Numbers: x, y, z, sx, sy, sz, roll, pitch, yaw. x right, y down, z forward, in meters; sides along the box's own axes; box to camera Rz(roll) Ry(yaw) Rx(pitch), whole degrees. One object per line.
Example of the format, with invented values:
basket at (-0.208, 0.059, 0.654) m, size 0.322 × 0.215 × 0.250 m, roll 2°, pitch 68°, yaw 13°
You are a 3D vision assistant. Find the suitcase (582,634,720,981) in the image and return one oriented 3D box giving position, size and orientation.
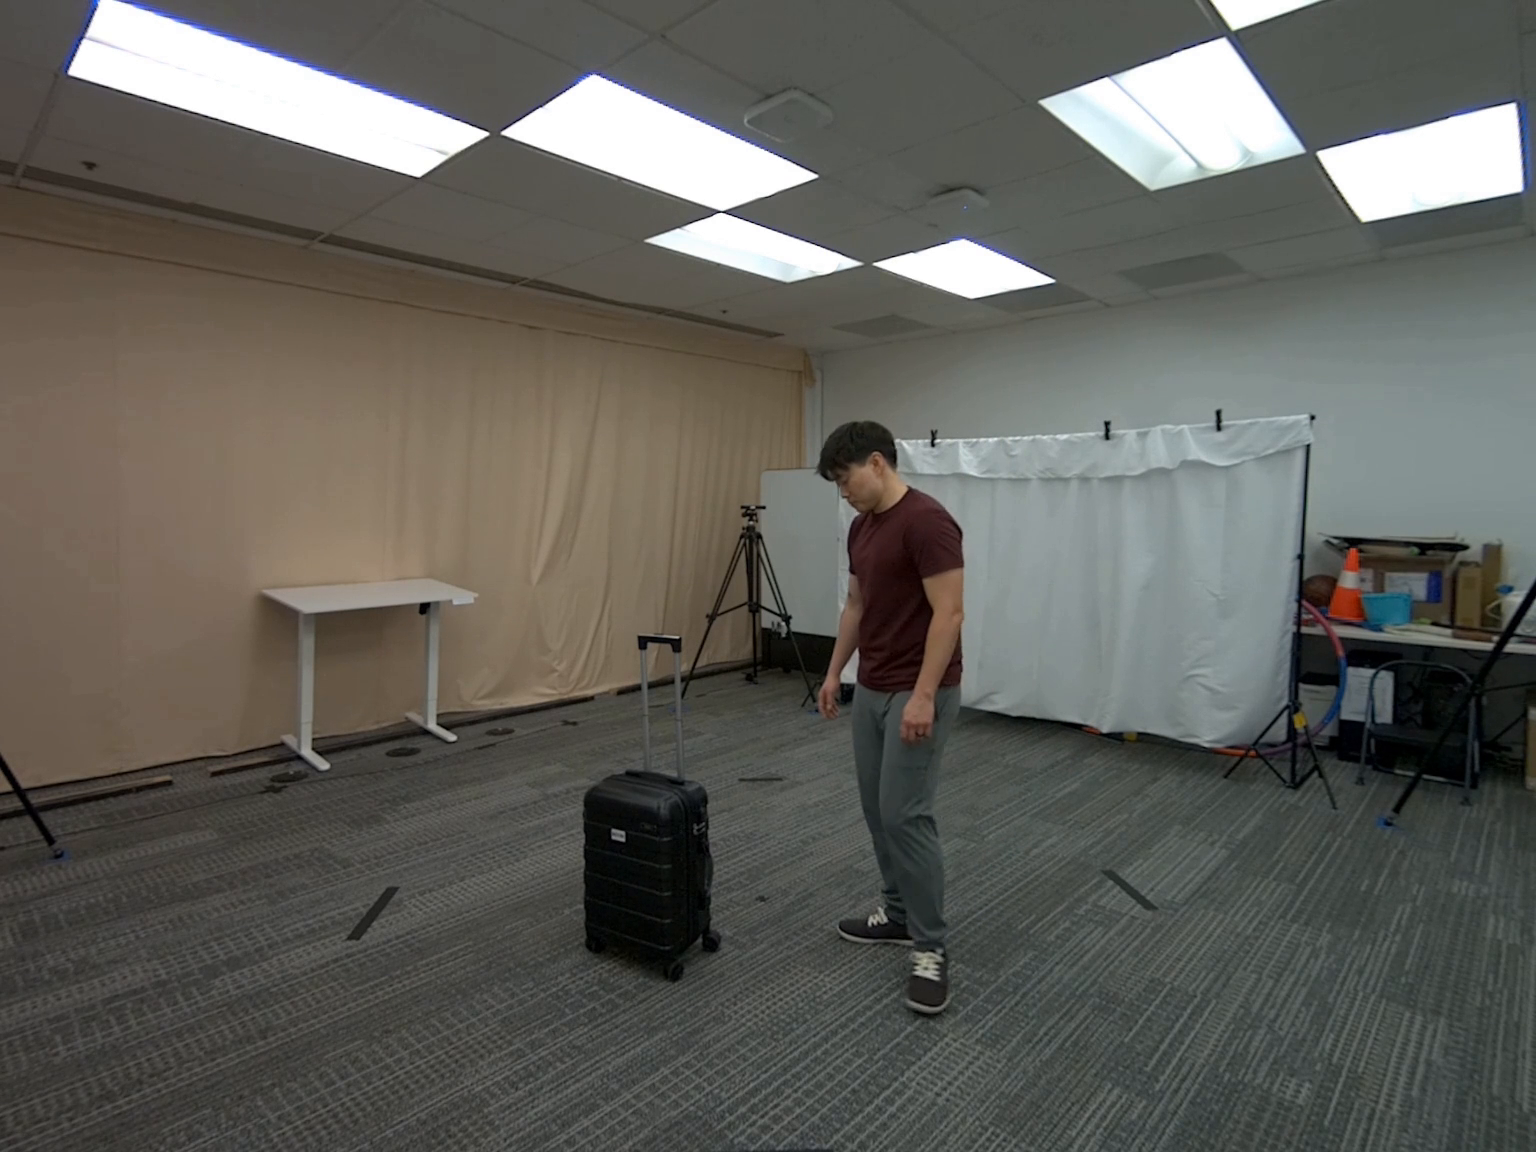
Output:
suitcase at (-0.378, 0.703, 2.602) m, size 0.395 × 0.975 × 0.251 m, roll 1°, pitch 6°, yaw 30°
